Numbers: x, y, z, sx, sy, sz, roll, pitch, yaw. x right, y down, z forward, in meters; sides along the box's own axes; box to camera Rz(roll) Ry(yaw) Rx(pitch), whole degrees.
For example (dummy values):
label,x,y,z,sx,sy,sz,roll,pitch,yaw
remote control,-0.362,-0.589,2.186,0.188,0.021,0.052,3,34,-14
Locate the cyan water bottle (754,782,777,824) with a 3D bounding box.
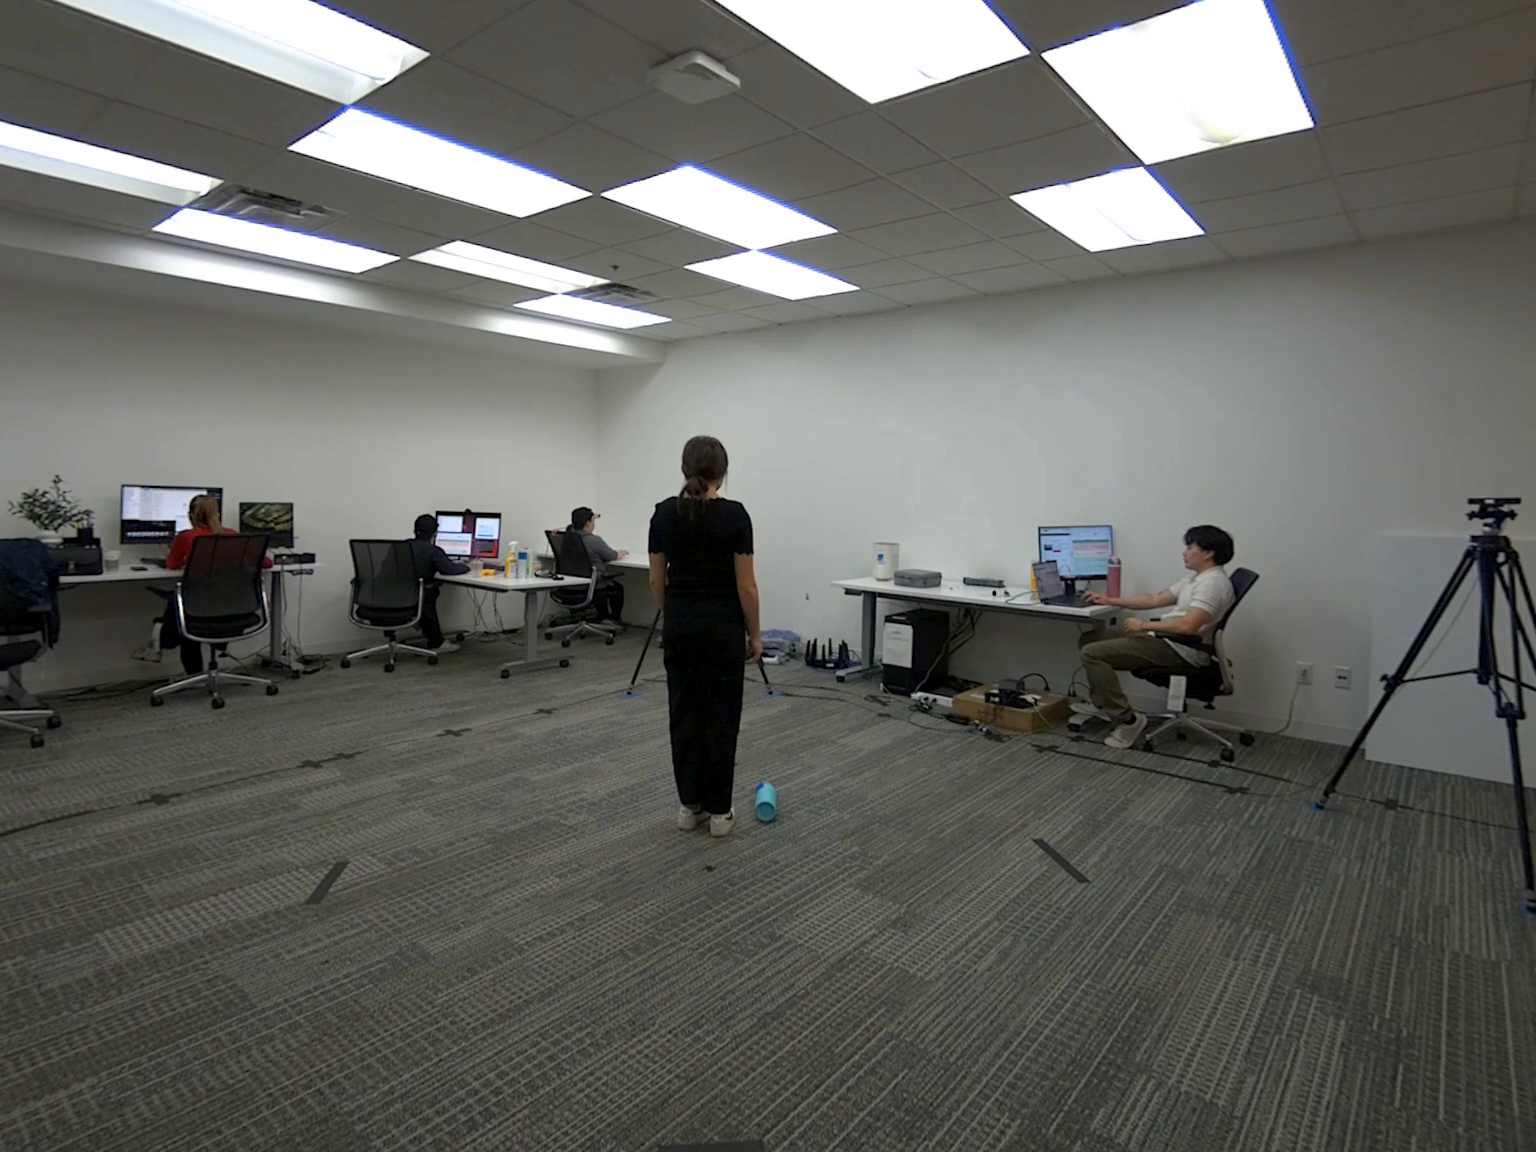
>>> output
label,x,y,z,sx,sy,sz,roll,pitch,yaw
cyan water bottle,-0.017,0.968,3.696,0.092,0.092,0.284,1,6,2
